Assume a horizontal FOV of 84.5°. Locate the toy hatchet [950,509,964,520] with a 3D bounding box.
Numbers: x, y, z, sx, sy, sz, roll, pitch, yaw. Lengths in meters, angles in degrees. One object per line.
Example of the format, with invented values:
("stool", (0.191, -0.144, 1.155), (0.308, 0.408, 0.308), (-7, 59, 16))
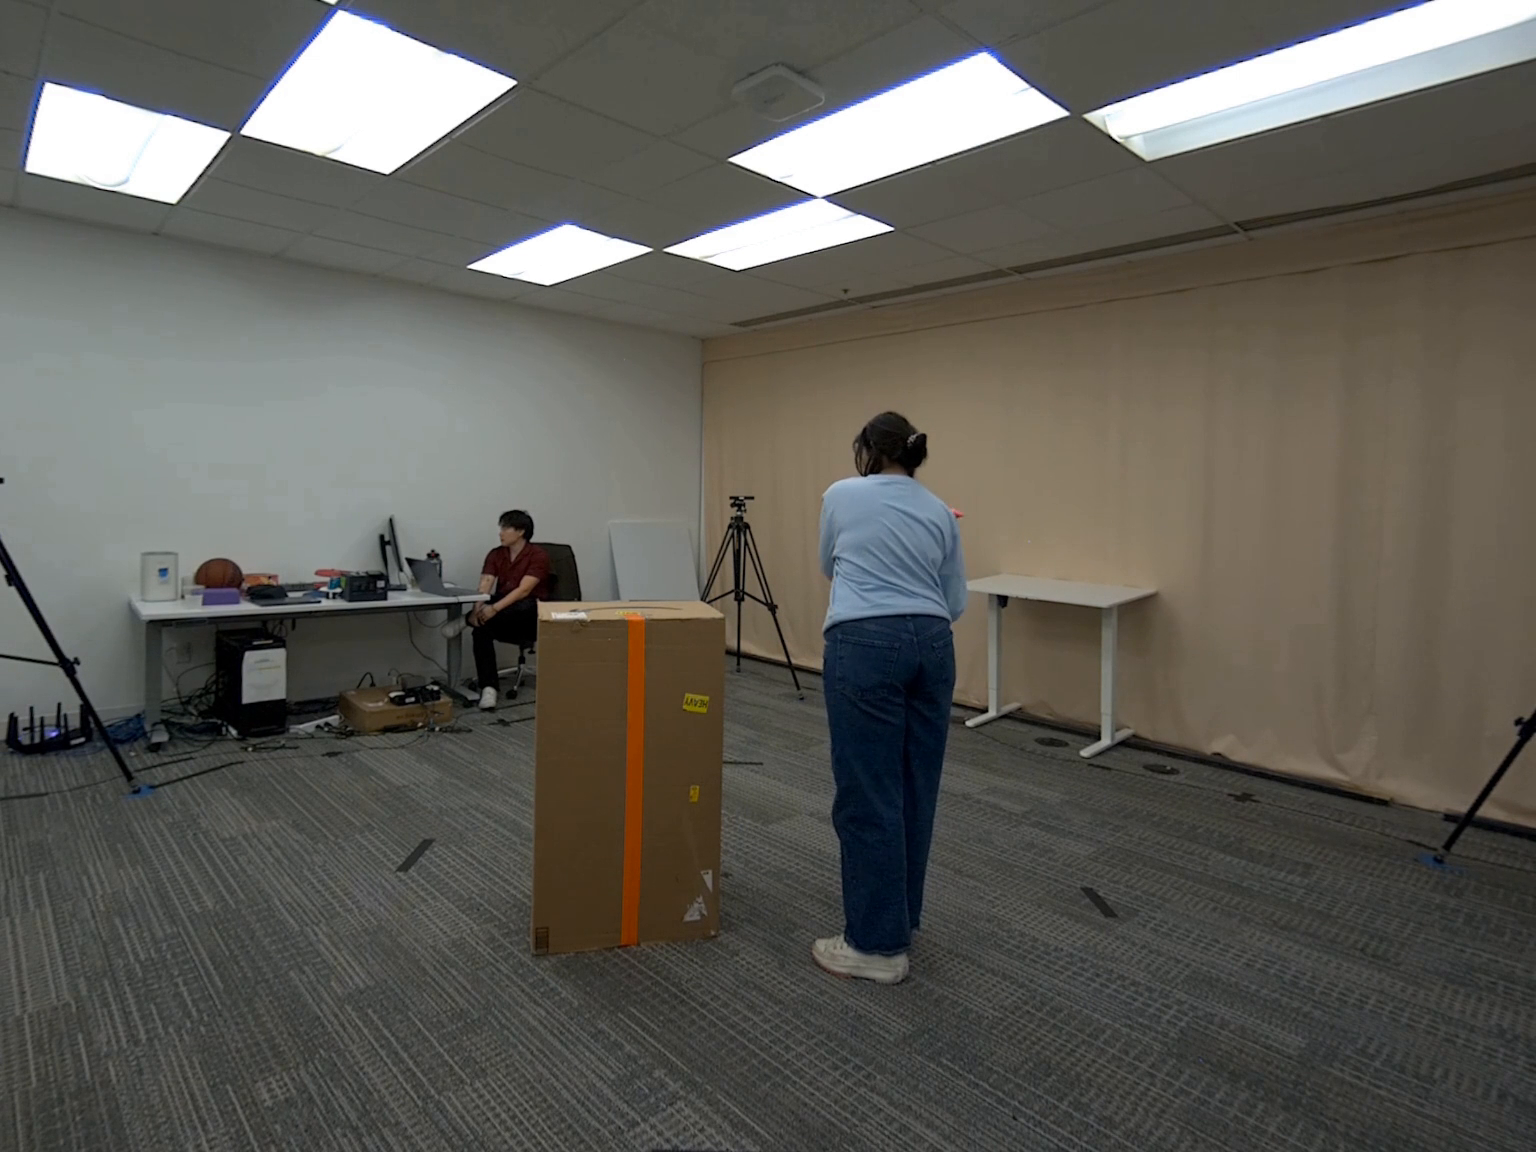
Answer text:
("toy hatchet", (0.549, -0.142, 2.980), (0.270, 0.029, 0.134), (-37, 25, -4))
